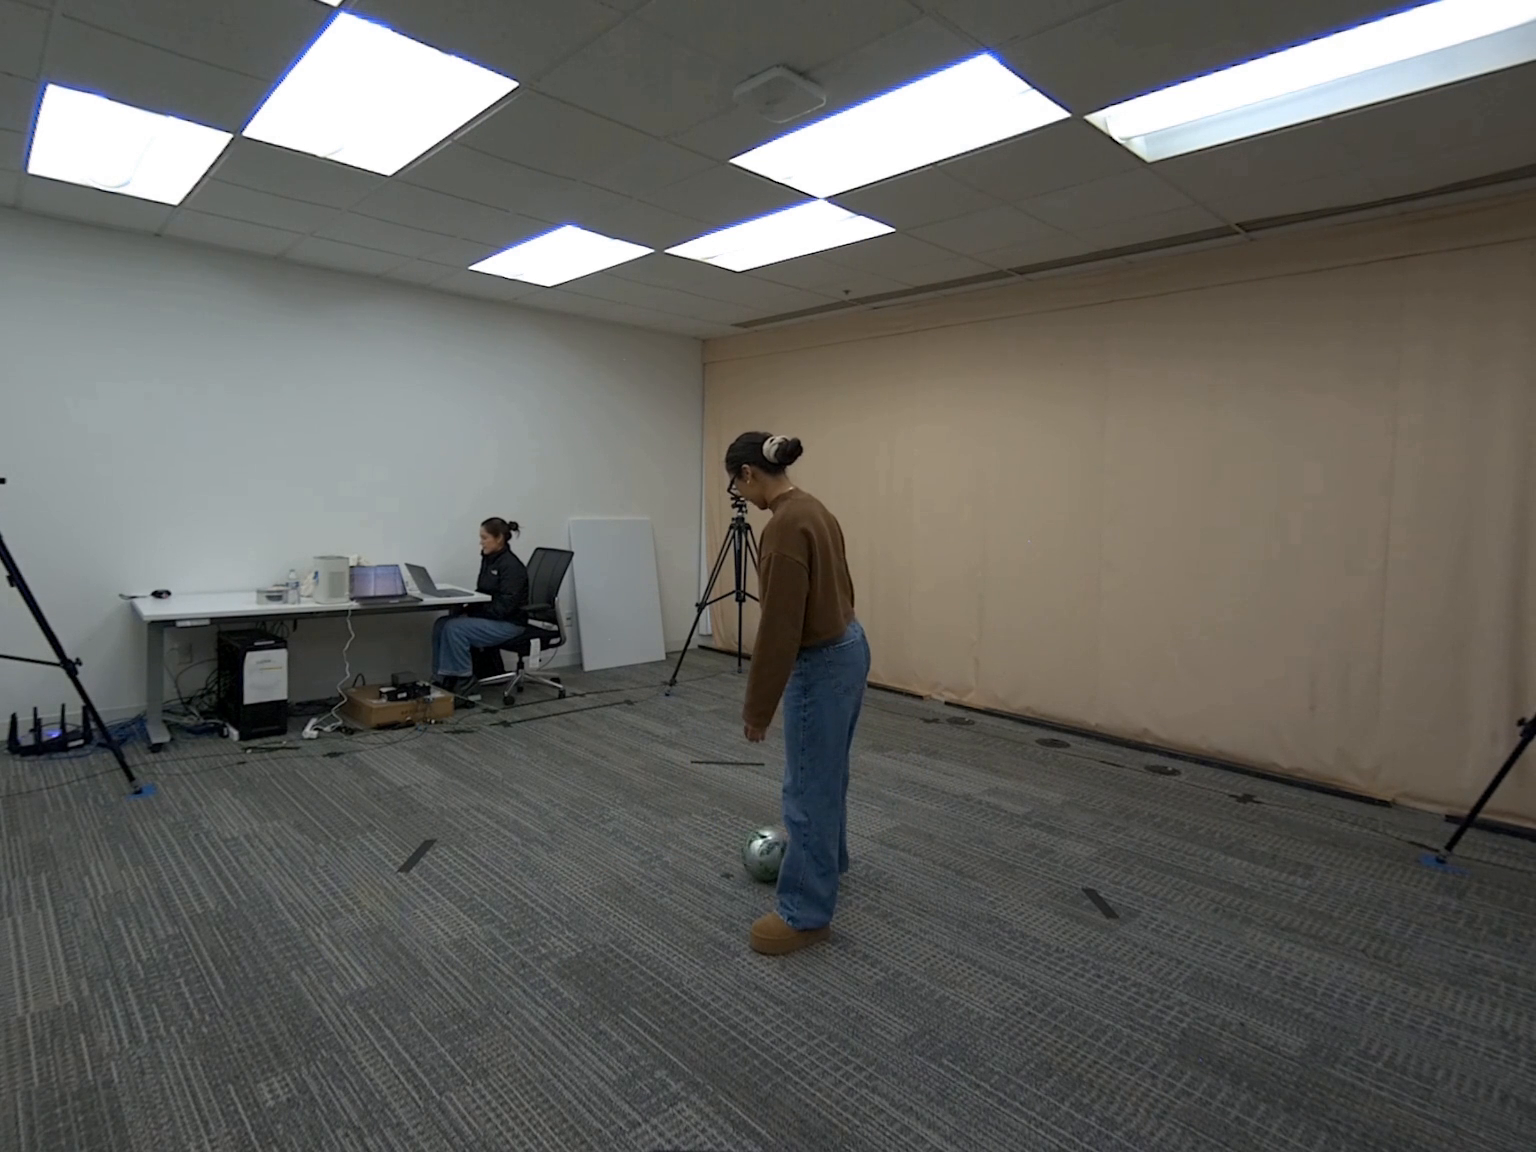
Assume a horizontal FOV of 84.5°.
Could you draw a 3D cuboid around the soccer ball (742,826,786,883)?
[{"bbox_3d":[-0.010,1.014,3.086,0.187,0.187,0.188,1,4,-1],"label":"soccer ball"}]
